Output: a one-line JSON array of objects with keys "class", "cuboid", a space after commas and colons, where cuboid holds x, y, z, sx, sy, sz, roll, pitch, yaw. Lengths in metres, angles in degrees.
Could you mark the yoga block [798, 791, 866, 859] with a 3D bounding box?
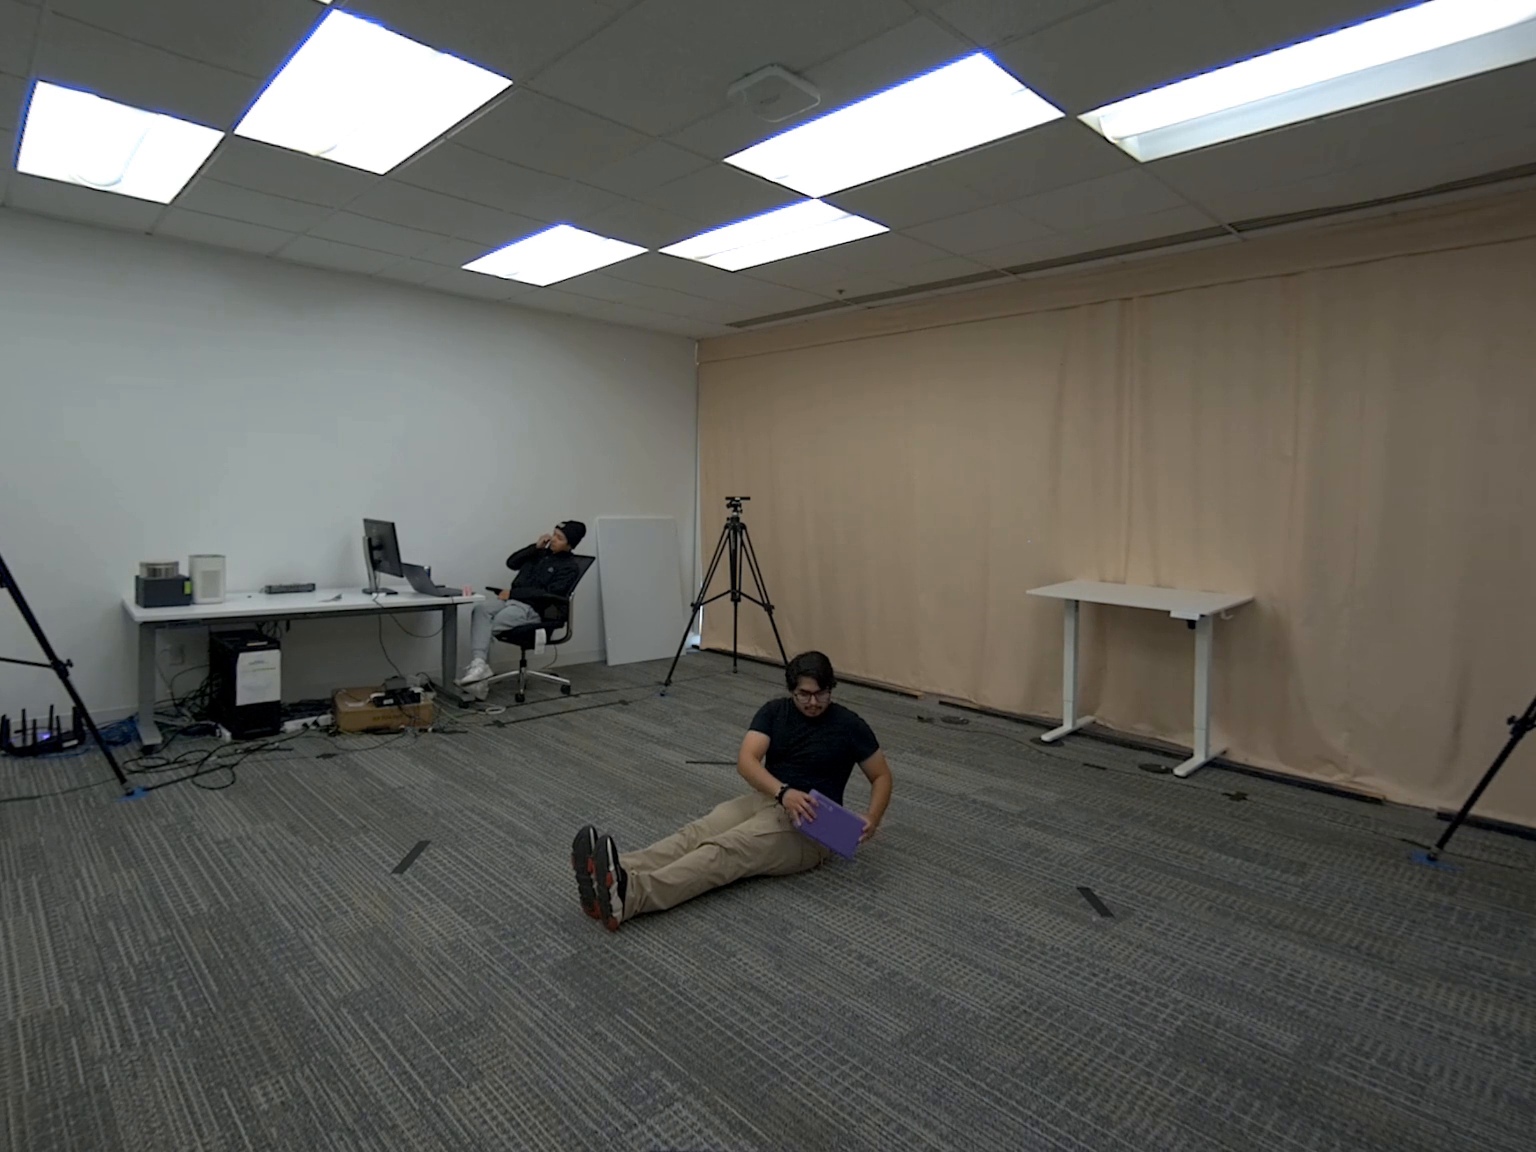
[{"class": "yoga block", "cuboid": [0.216, 0.900, 3.058, 0.229, 0.149, 0.076, 25, -10, -2]}]
